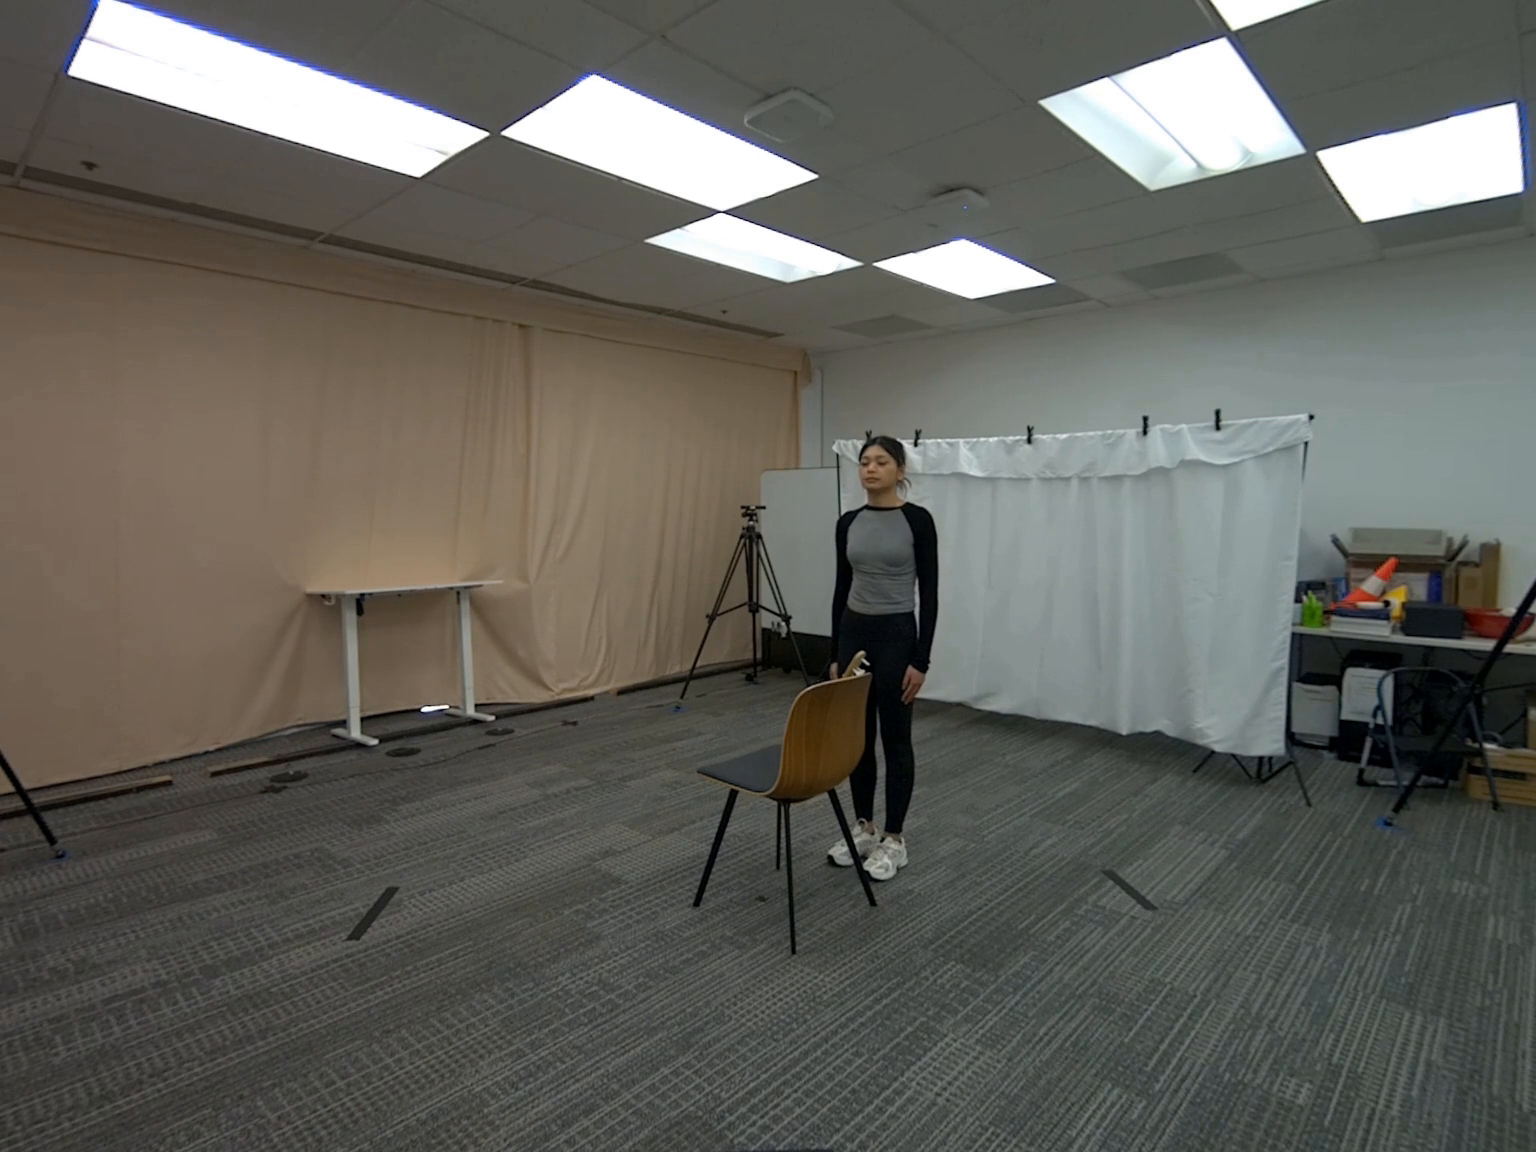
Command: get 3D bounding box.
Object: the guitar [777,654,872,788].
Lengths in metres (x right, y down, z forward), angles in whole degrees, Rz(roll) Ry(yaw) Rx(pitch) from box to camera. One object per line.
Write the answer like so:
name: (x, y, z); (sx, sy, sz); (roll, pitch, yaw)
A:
guitar: (0.196, 0.468, 2.786); (0.188, 0.495, 0.073); (-18, 49, -45)
